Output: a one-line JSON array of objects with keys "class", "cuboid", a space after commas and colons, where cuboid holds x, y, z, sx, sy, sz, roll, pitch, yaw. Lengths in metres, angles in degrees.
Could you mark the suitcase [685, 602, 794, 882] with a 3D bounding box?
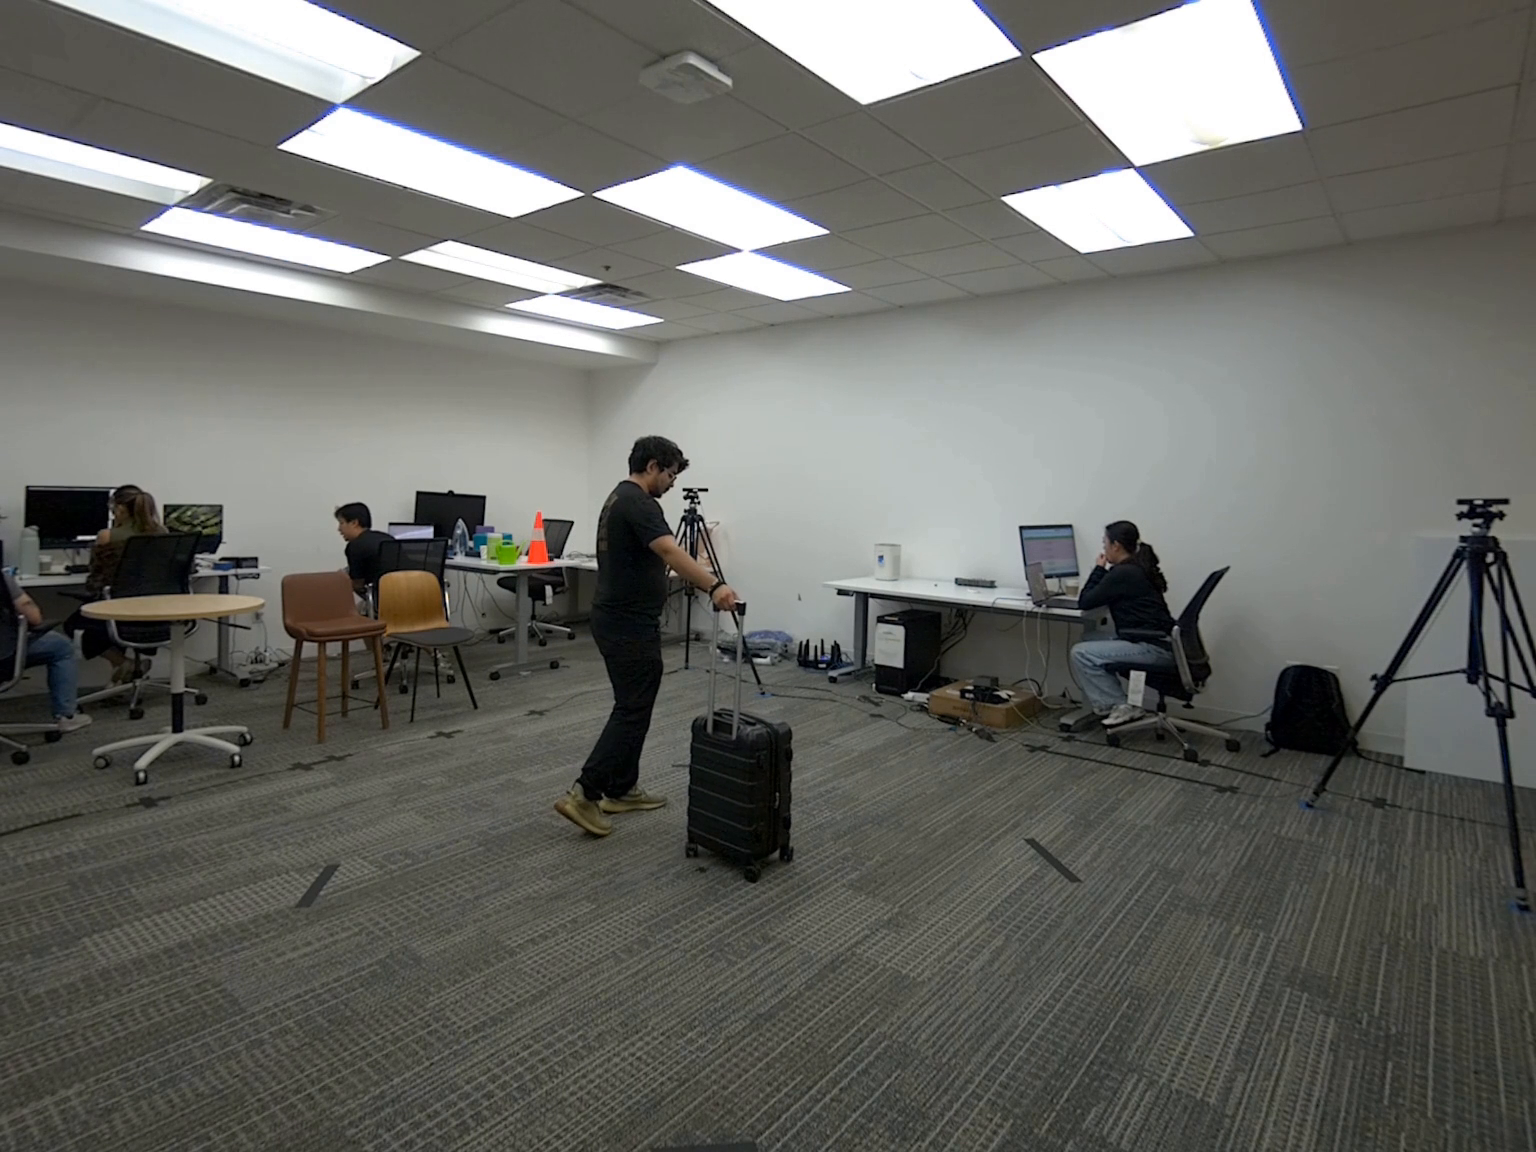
[{"class": "suitcase", "cuboid": [-0.103, 0.587, 3.203, 0.397, 0.978, 0.249, 4, 2, 42]}]
